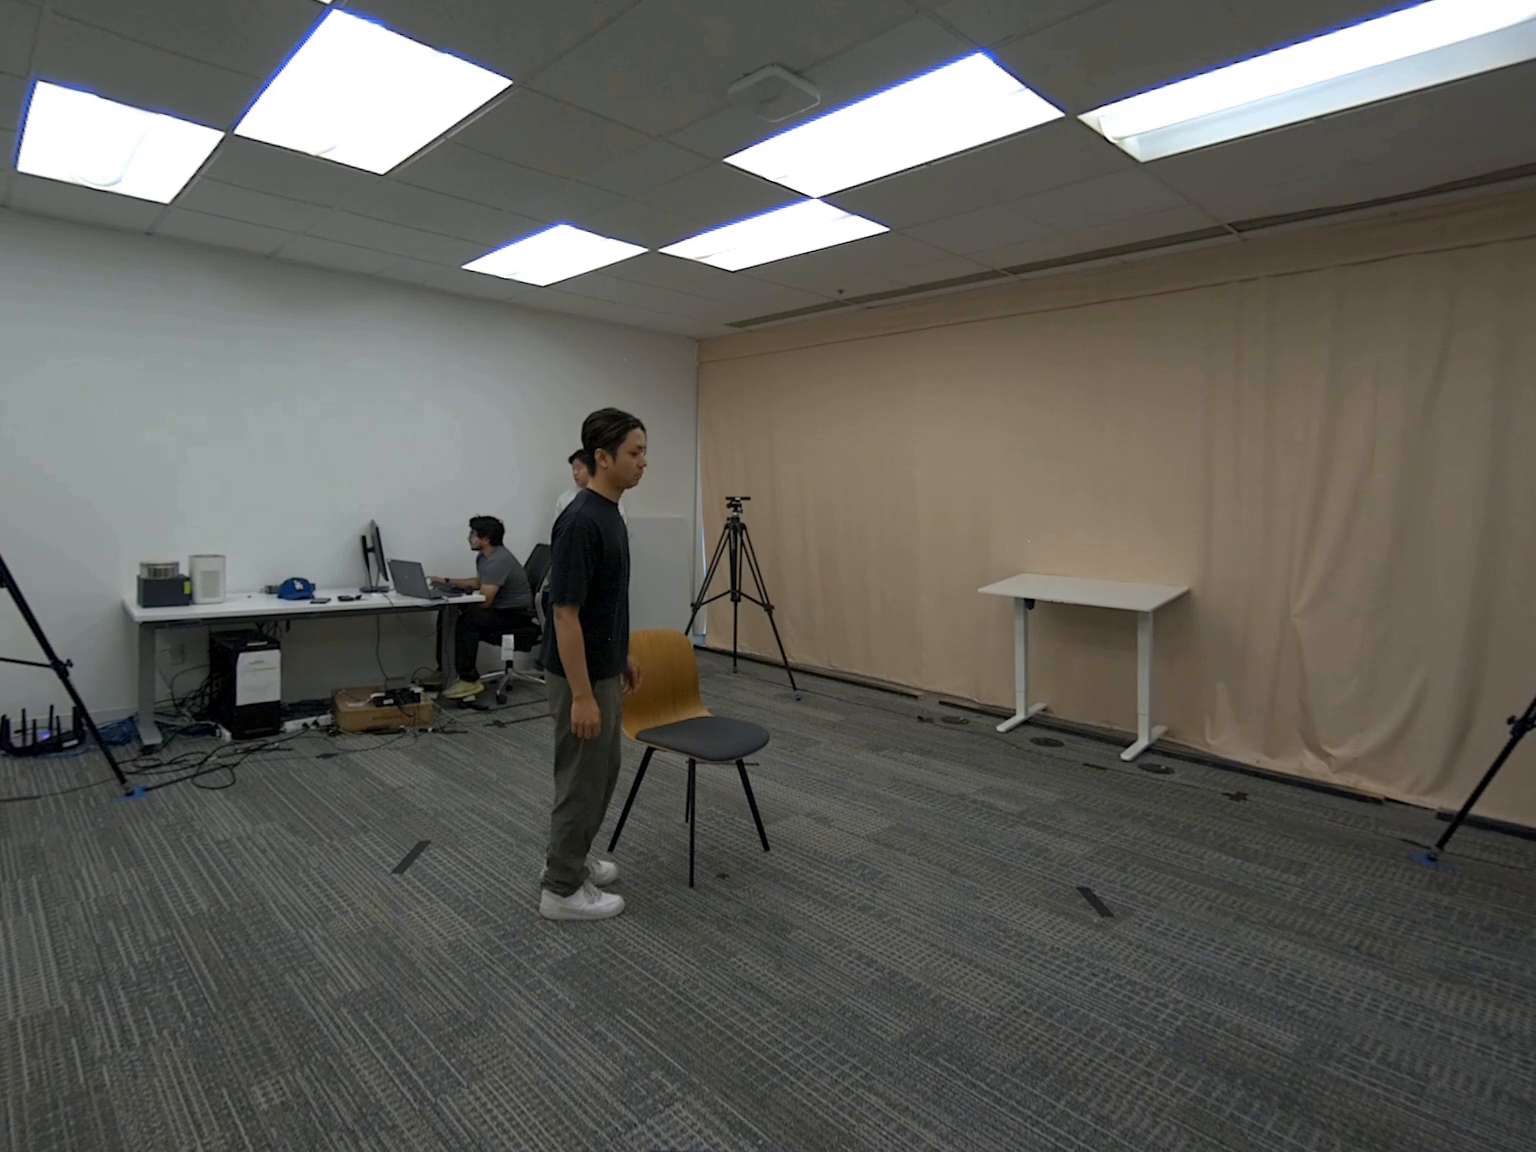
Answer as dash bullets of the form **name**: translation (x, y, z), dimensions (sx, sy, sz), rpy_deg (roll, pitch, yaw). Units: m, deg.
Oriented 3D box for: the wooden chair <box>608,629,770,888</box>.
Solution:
- **wooden chair**: translation (-0.296, 0.659, 3.280), dimensions (0.535, 0.877, 0.467), rpy_deg (-1, 0, 40)
